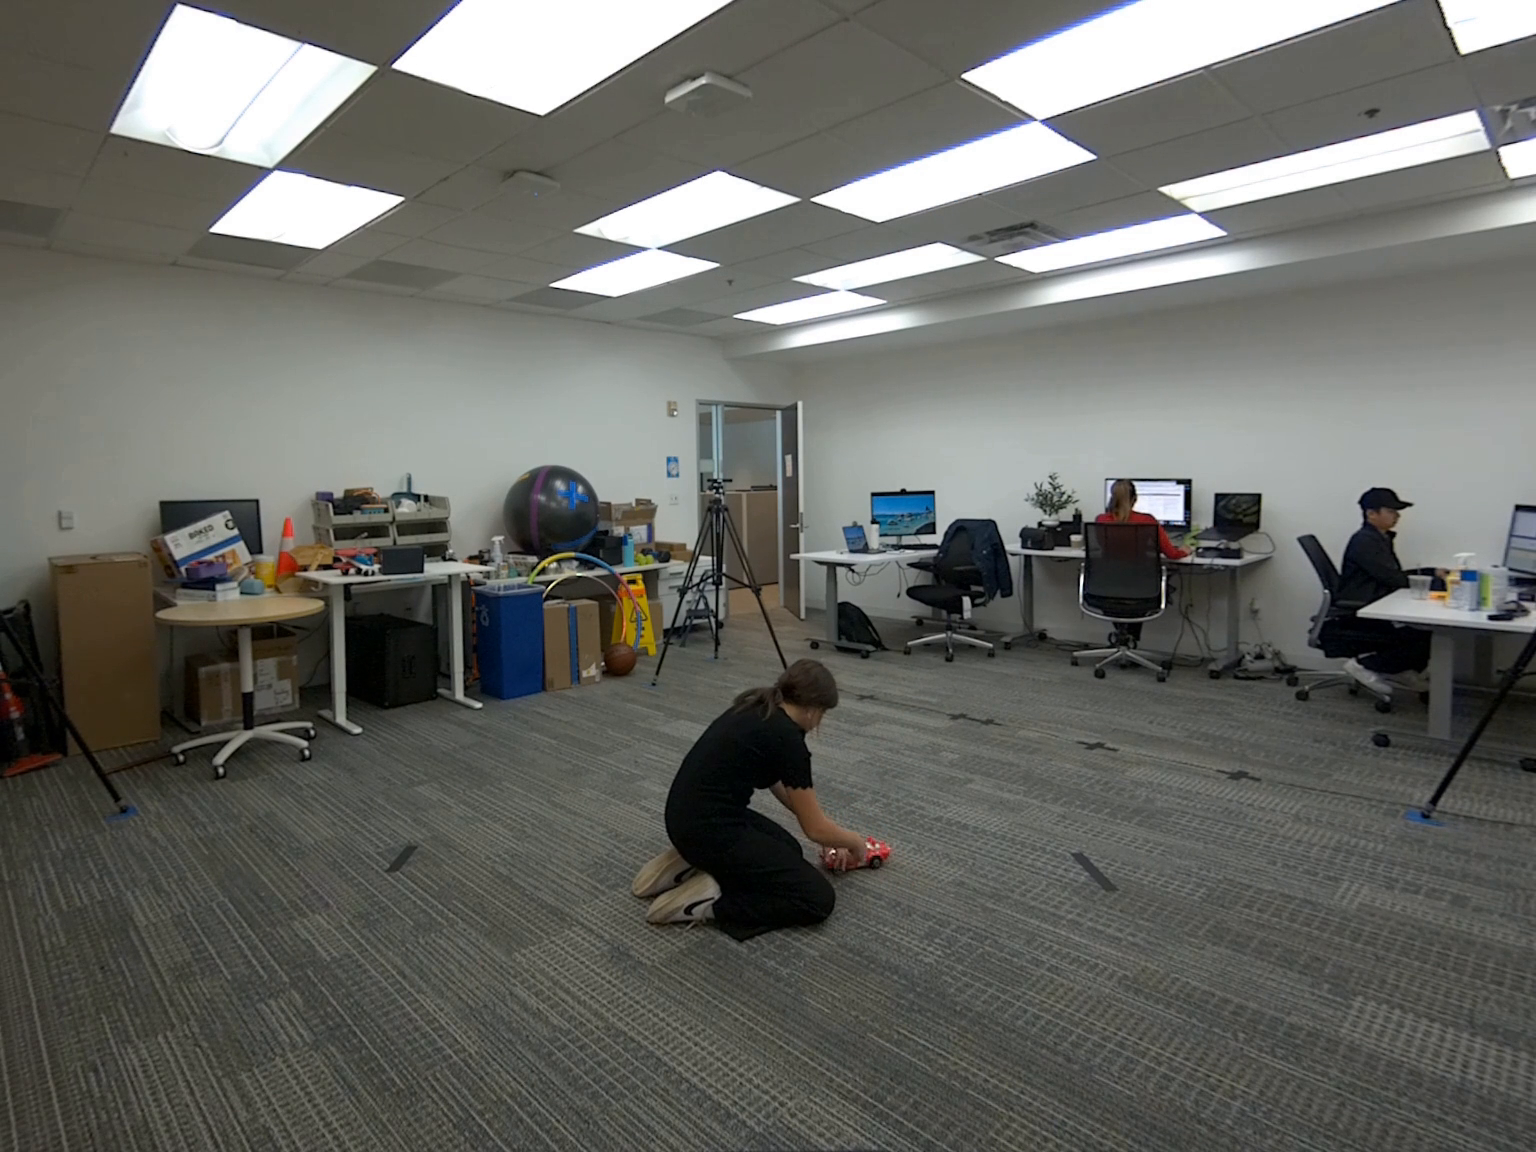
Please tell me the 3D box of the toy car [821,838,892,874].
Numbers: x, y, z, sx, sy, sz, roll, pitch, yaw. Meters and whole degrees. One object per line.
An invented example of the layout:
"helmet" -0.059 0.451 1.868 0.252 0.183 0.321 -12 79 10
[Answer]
"toy car" 0.321 1.010 3.077 0.252 0.082 0.133 -15 11 -15
